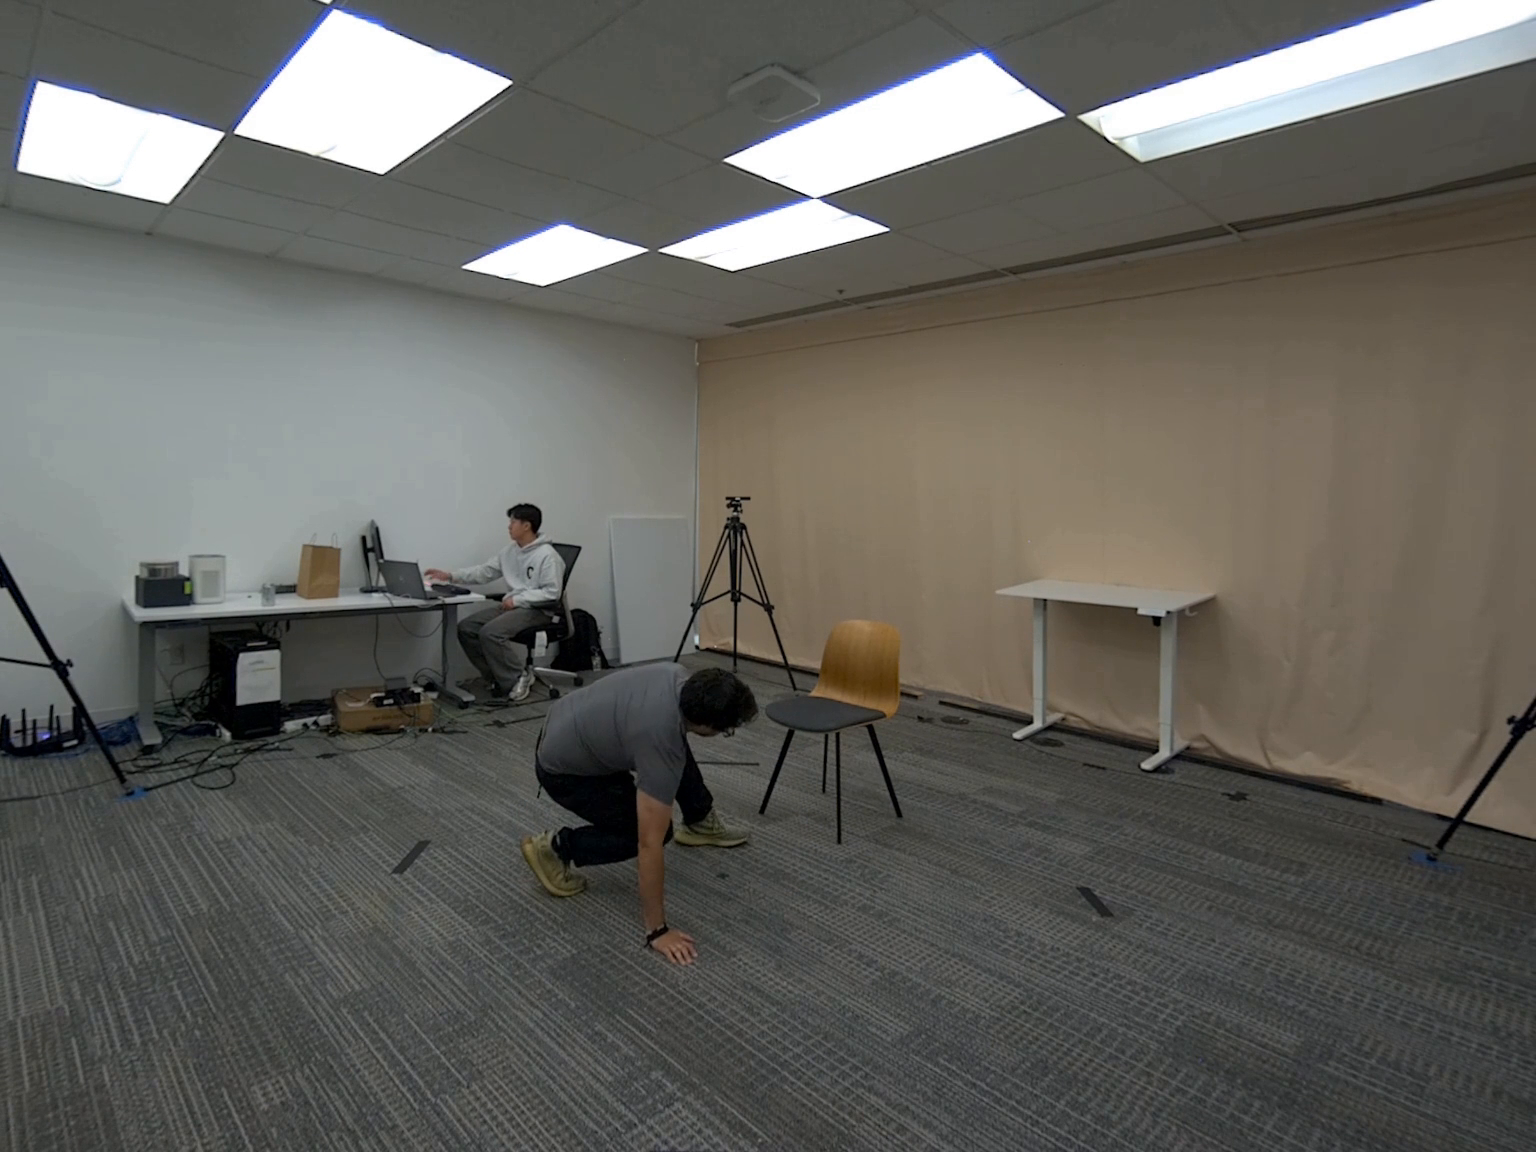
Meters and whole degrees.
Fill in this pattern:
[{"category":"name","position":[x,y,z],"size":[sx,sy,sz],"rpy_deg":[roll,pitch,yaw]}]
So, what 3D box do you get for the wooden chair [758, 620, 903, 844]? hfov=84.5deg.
[{"category":"wooden chair","position":[0.277,0.638,3.697],"size":[0.490,0.877,0.510],"rpy_deg":[5,0,44]}]
